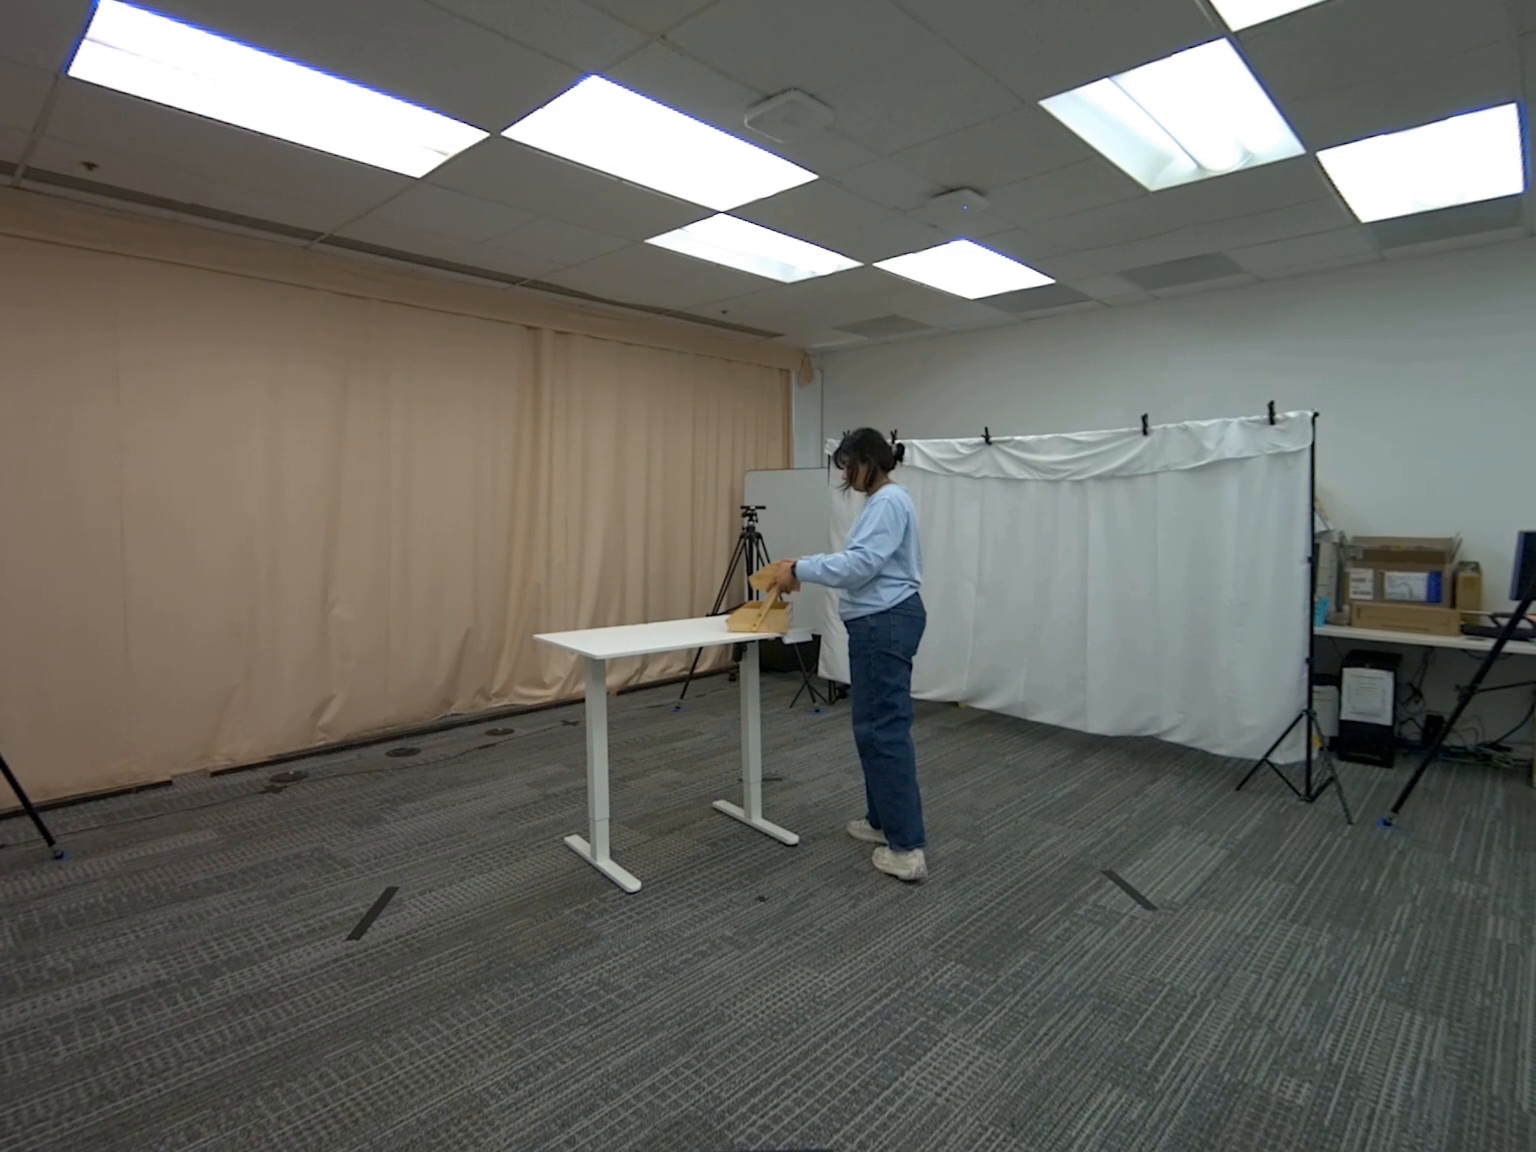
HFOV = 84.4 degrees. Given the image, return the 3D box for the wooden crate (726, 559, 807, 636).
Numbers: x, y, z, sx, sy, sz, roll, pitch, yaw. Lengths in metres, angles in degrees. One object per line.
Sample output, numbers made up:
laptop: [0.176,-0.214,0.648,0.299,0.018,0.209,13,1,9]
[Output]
wooden crate: [-0.001,0.079,3.510,0.304,0.273,0.322,2,4,6]
